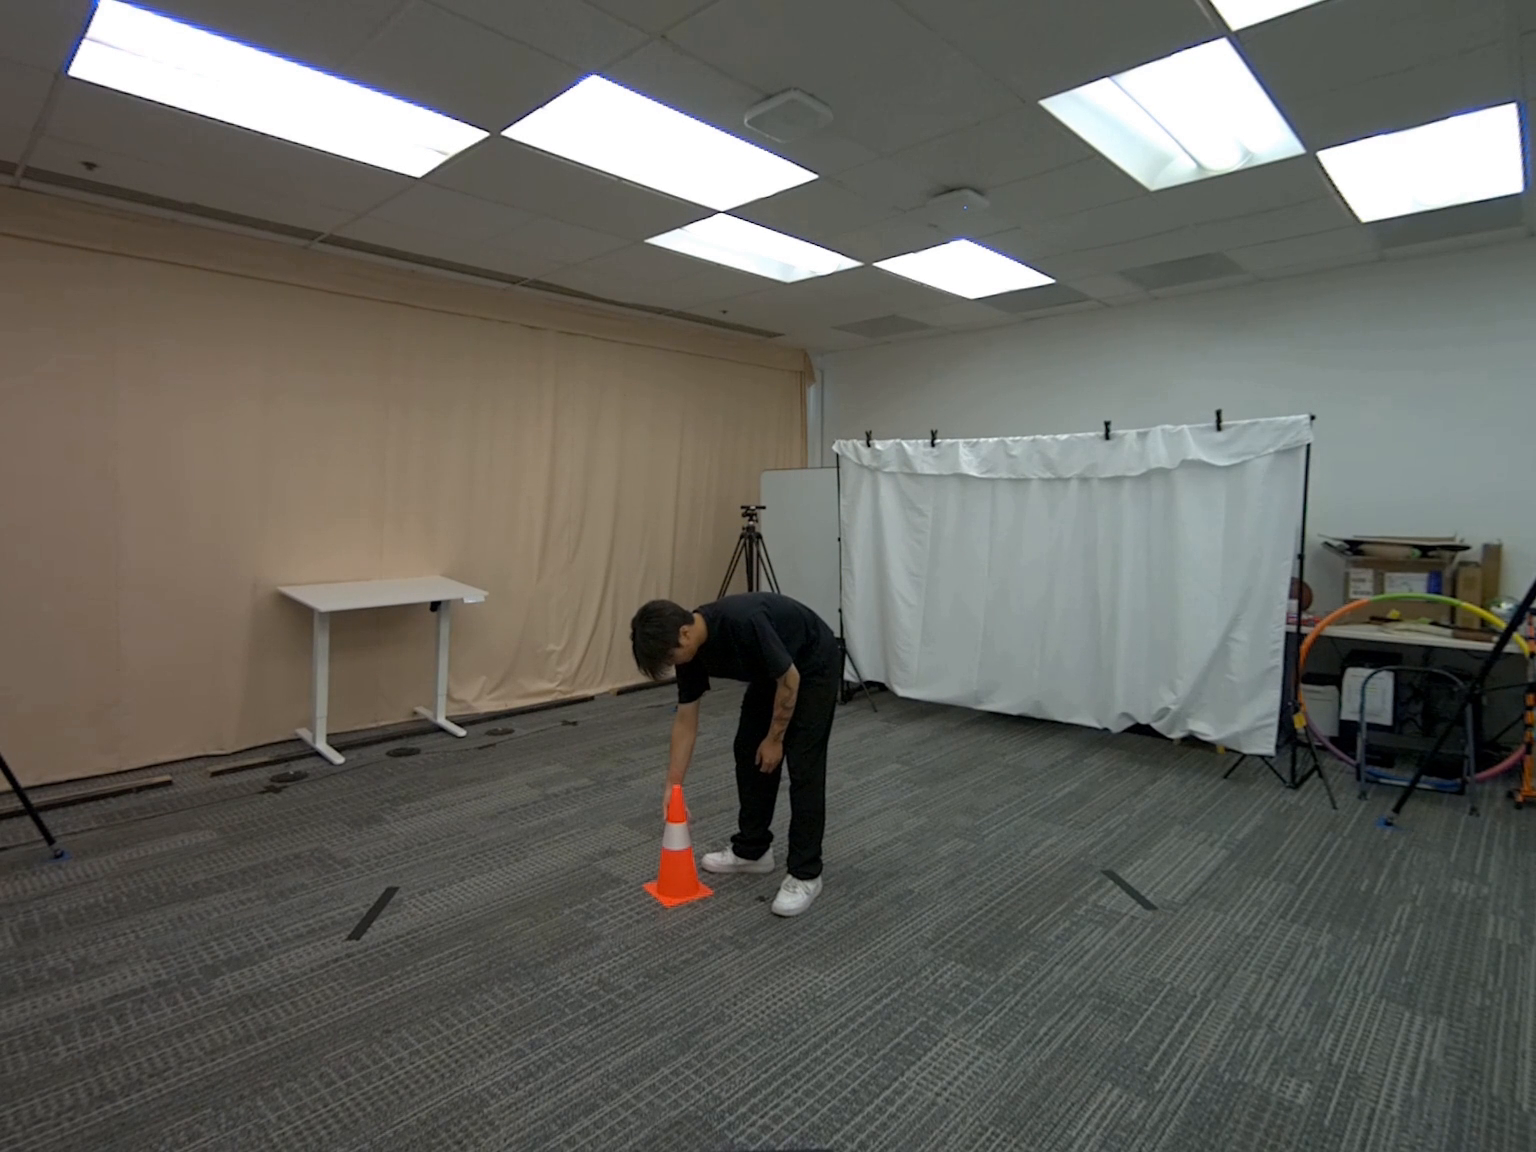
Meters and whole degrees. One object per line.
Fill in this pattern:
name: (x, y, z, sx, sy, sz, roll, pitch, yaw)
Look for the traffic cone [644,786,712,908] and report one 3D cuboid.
traffic cone: (-0.330, 0.960, 3.061, 0.197, 0.383, 0.211, -2, 2, -33)
